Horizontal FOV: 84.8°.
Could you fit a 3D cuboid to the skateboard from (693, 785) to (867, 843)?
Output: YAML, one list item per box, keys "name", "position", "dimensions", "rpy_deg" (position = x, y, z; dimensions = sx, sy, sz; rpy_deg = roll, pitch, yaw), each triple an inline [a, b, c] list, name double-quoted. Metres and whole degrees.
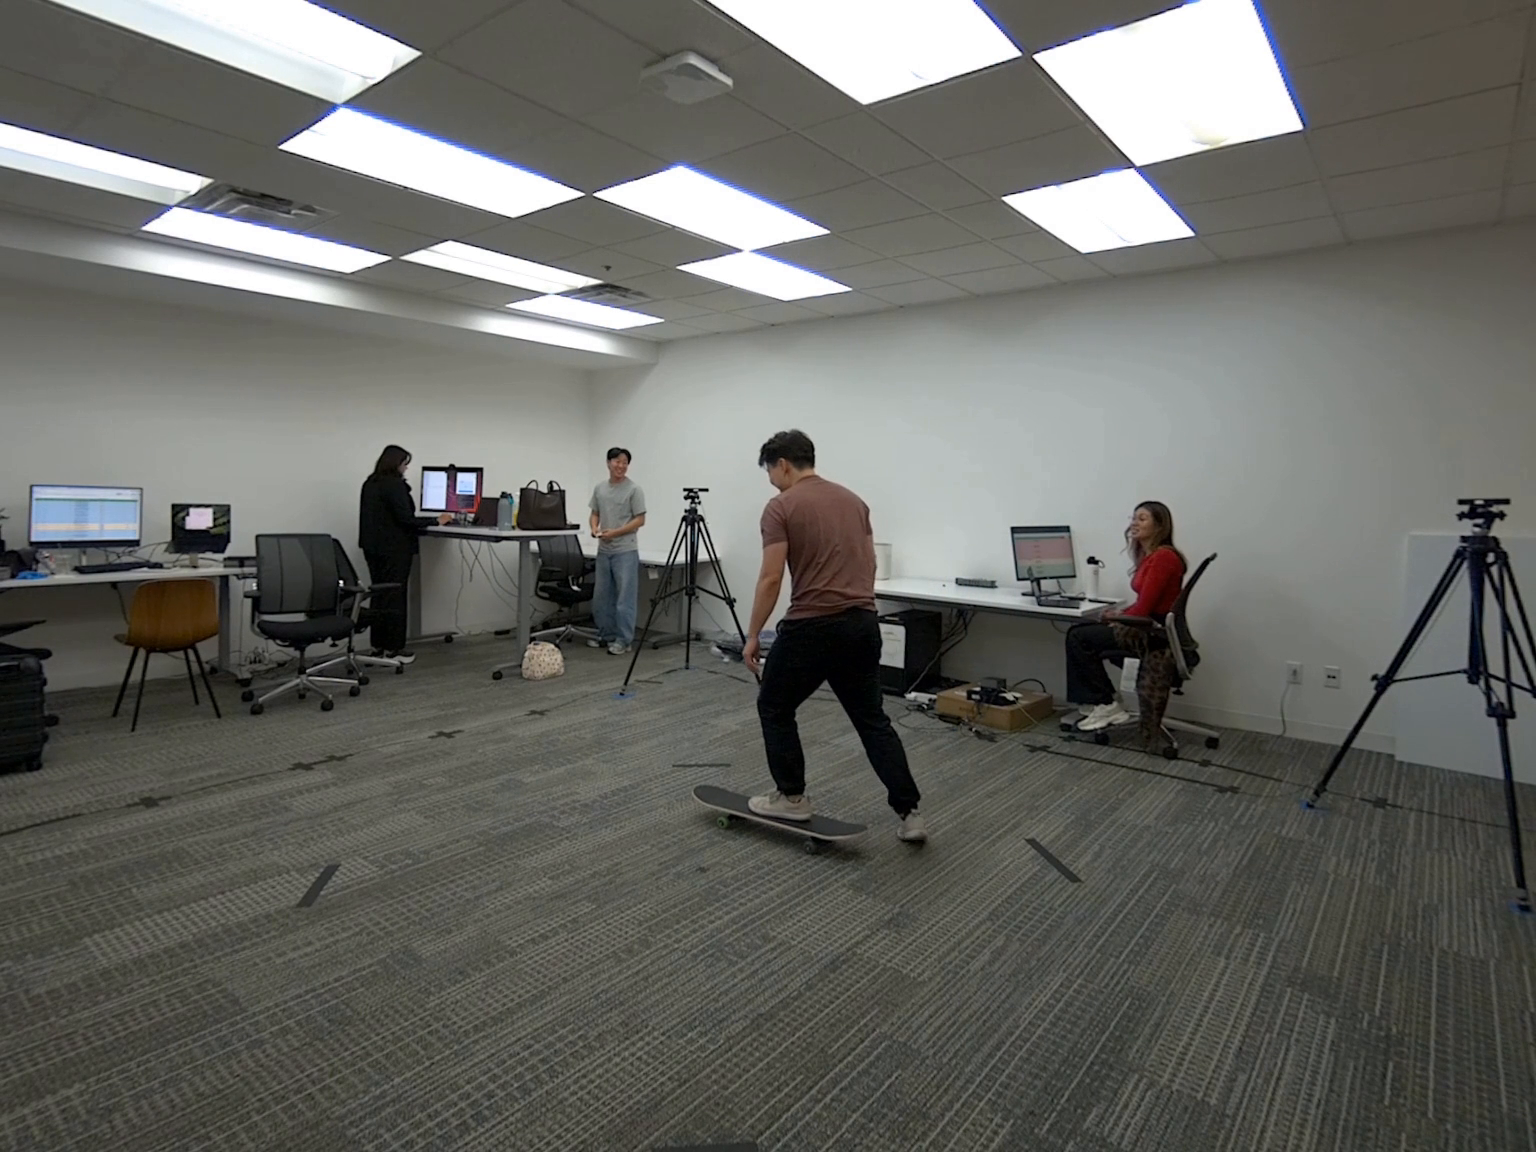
- name: "skateboard"
  position: [0.023, 0.986, 3.448]
  dimensions: [0.810, 0.110, 0.188]
  rpy_deg: [5, 4, 32]
